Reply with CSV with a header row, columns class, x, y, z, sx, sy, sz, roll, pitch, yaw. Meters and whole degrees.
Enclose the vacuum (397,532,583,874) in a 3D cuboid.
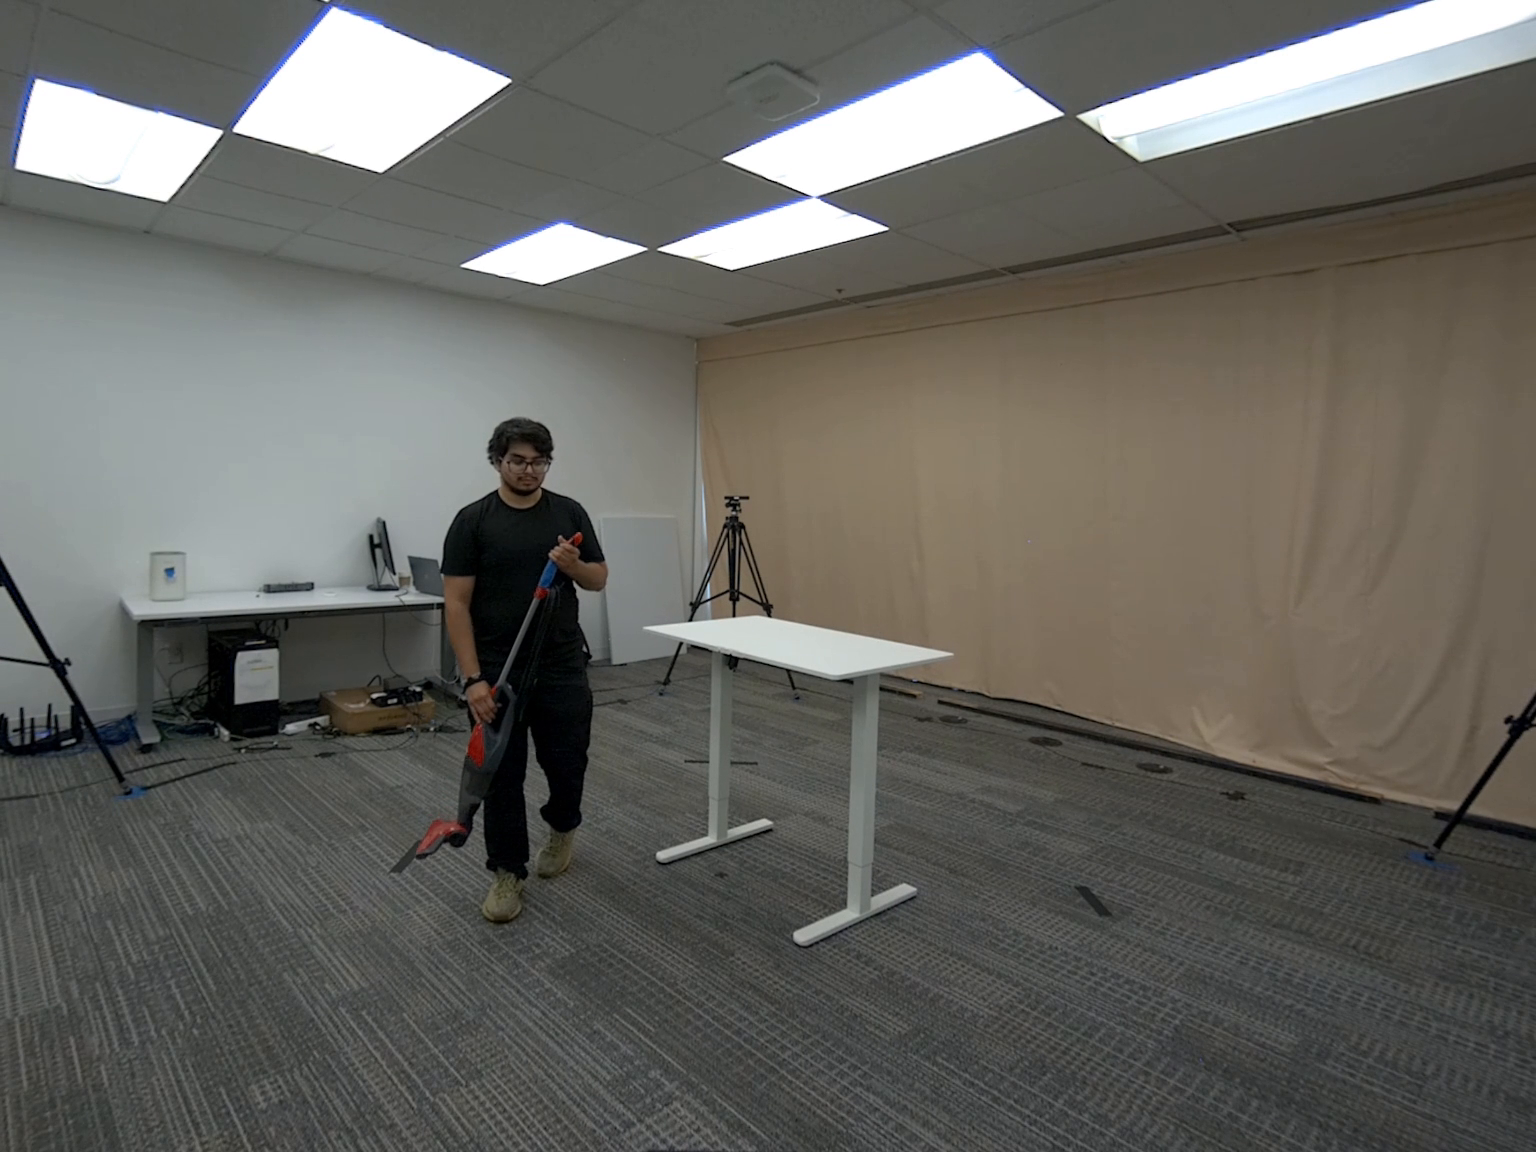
class,x,y,z,sx,sy,sz,roll,pitch,yaw
vacuum,-0.827,0.362,2.661,0.143,1.048,0.254,23,2,-5
